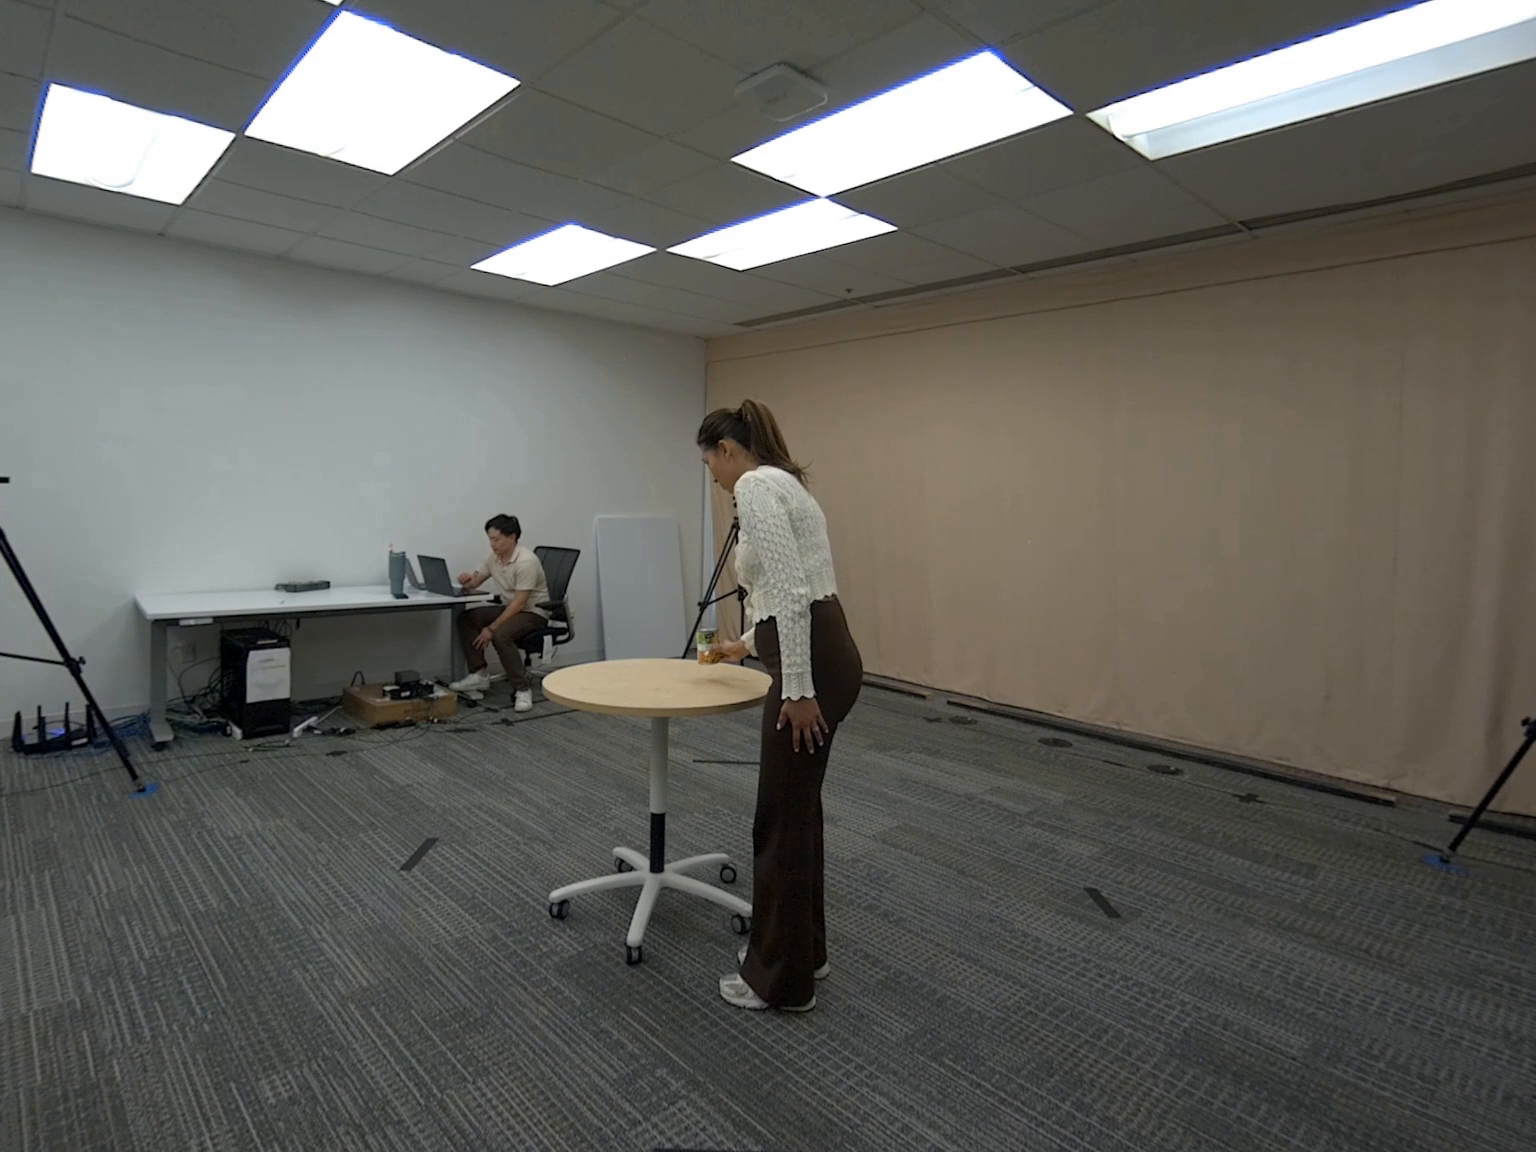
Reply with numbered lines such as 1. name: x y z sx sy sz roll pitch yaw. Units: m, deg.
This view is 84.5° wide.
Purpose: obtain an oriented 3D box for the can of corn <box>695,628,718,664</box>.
1. can of corn: -0.208 0.232 2.793 0.074 0.110 0.074 -4 5 -1
